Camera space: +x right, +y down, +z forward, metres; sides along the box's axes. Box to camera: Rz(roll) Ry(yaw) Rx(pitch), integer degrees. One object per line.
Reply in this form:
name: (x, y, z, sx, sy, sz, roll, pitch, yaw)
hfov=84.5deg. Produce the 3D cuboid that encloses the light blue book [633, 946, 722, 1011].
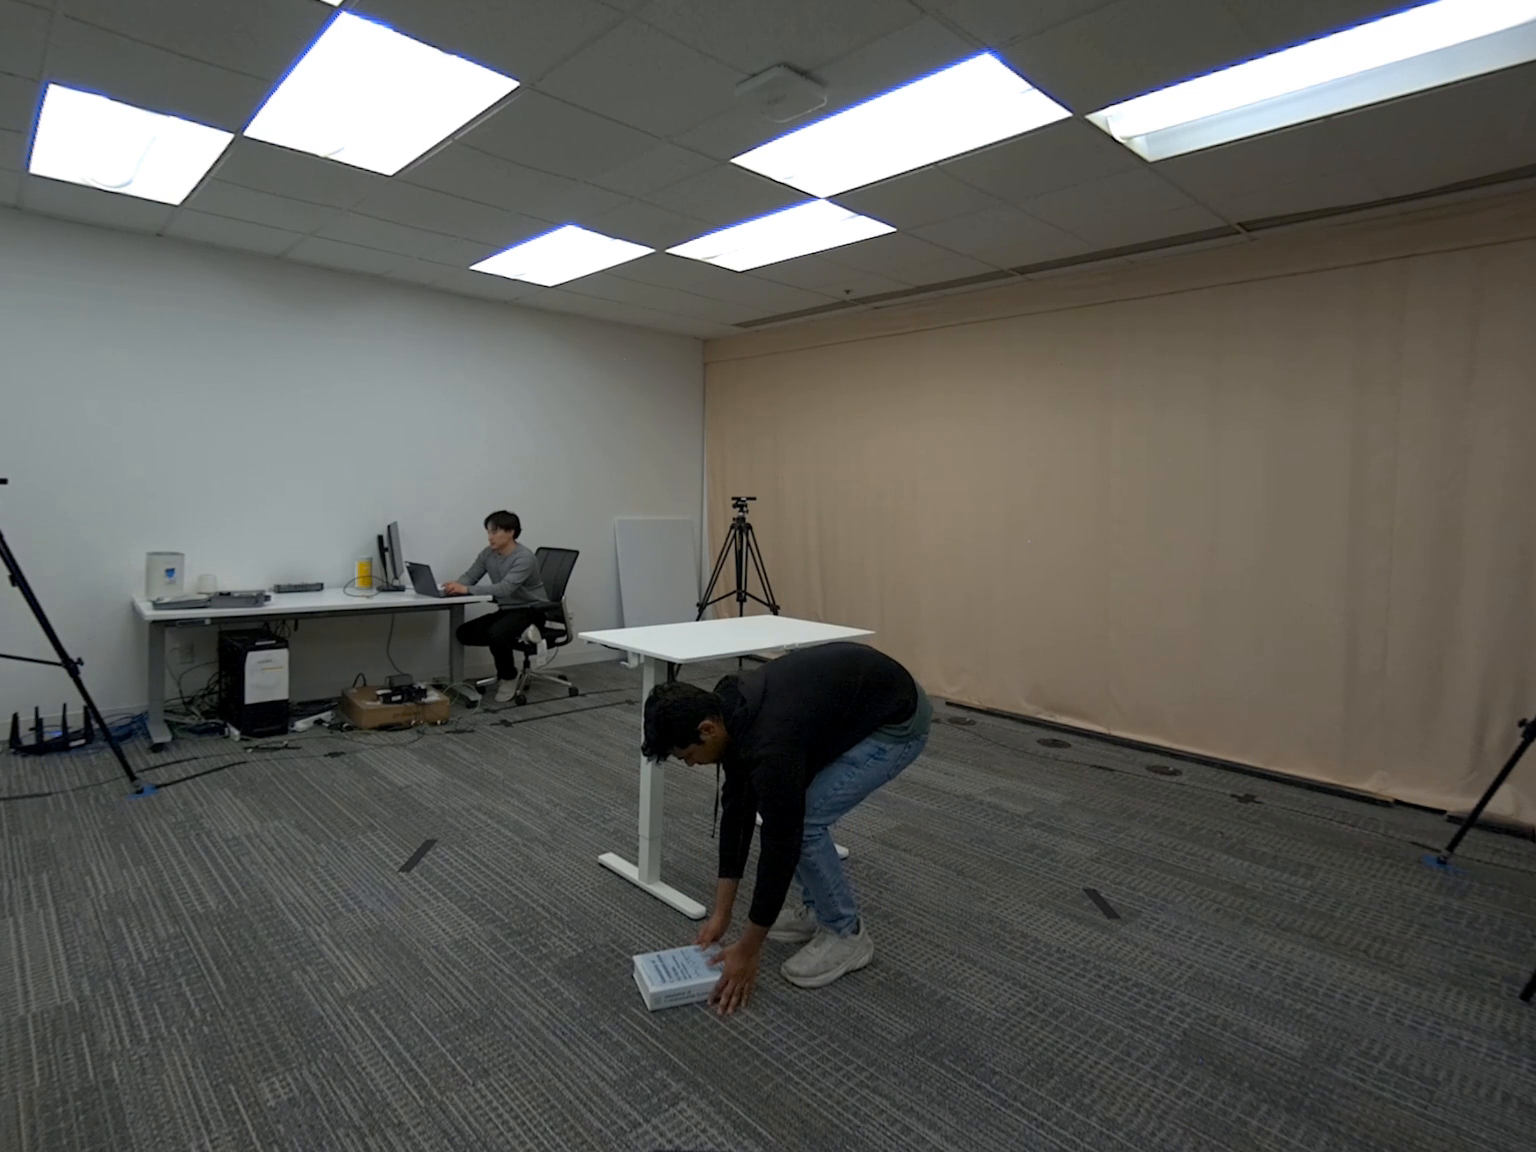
light blue book: (-0.238, 1.140, 2.391, 0.257, 0.059, 0.195, -1, 5, -22)
